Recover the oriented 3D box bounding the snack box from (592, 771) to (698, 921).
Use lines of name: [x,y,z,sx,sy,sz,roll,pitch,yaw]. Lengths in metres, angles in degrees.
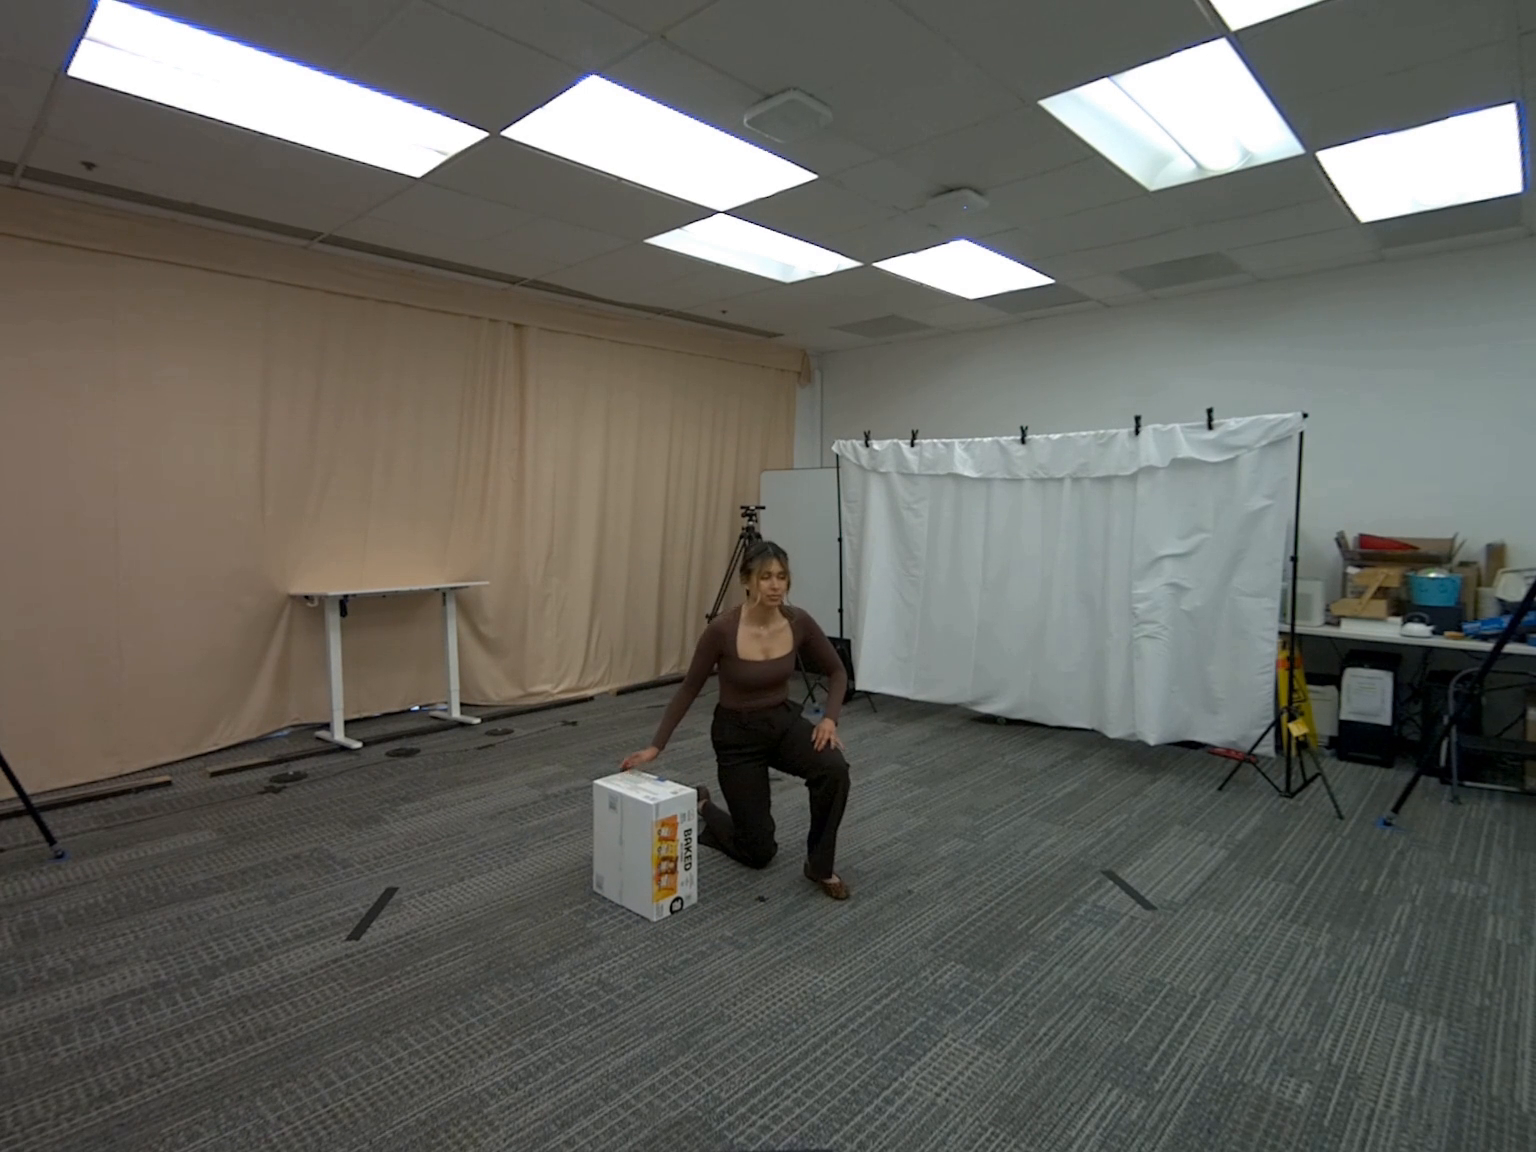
snack box: [-0.444,0.948,2.992,0.352,0.404,0.199,3,4,43]
